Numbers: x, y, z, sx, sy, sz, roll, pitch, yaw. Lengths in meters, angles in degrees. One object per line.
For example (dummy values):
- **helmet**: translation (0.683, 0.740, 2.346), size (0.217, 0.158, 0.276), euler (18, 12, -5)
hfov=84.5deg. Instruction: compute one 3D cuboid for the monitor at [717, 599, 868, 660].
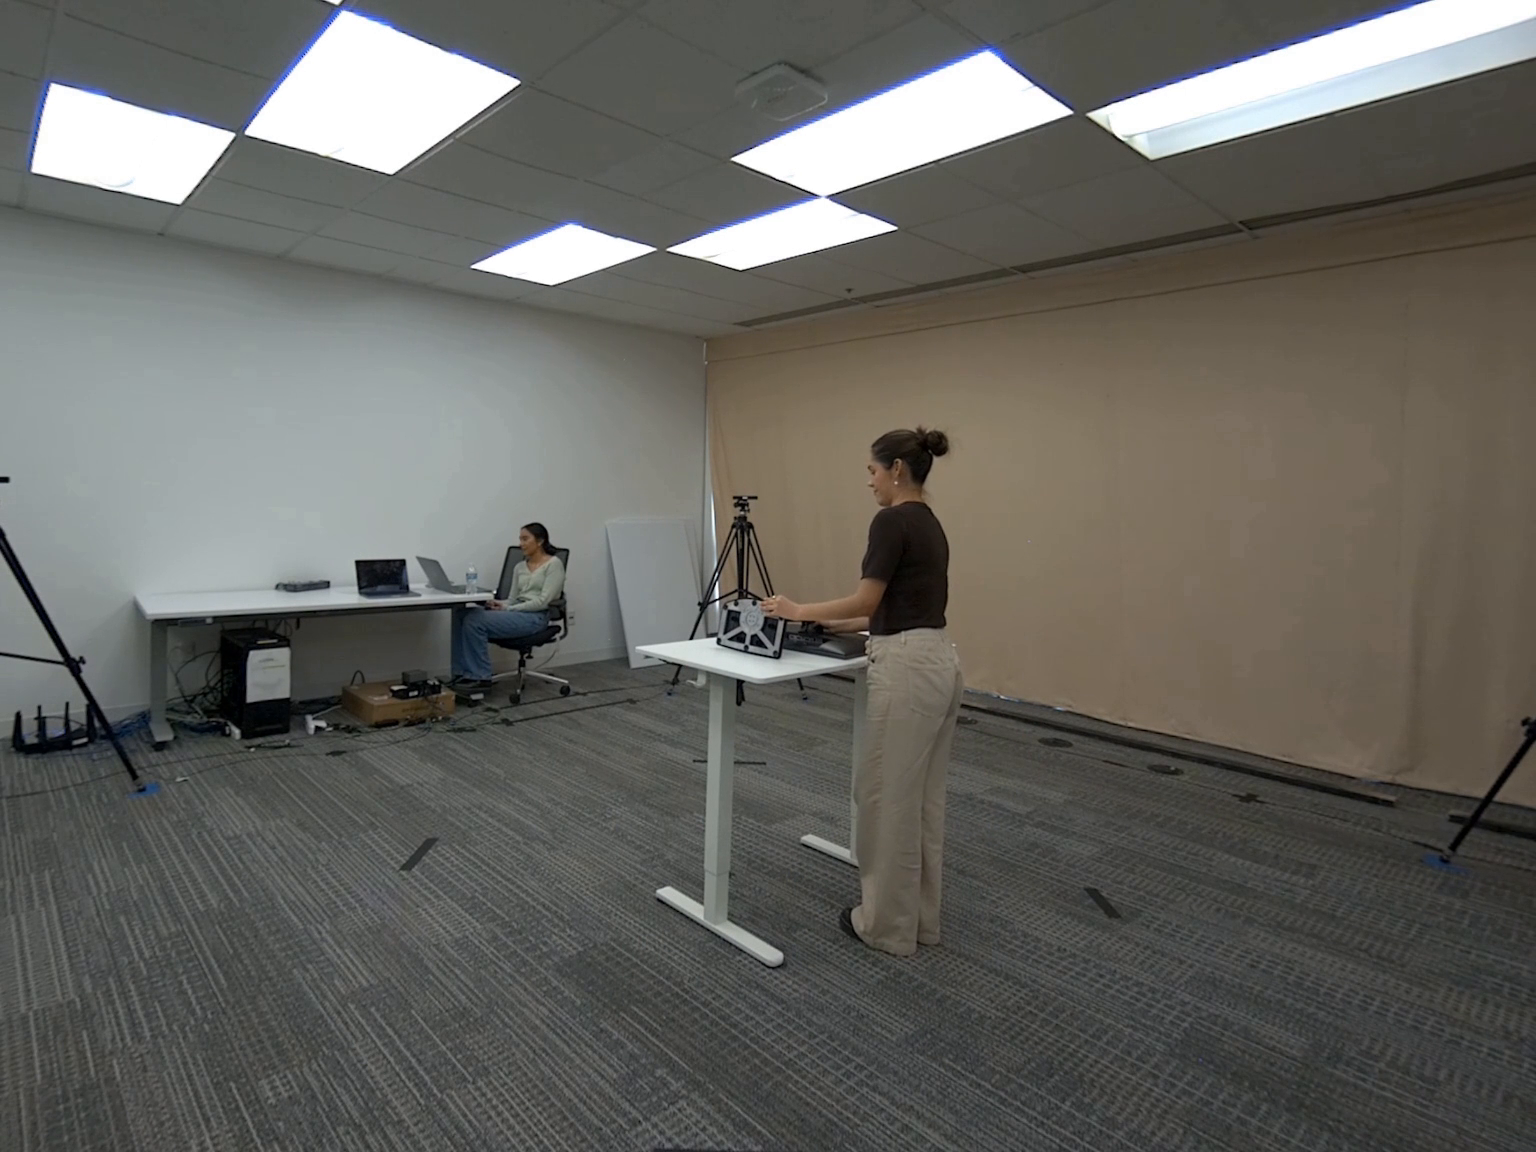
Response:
- **monitor**: translation (0.091, 0.196, 2.937), size (0.553, 0.187, 0.508), euler (10, -1, 42)
